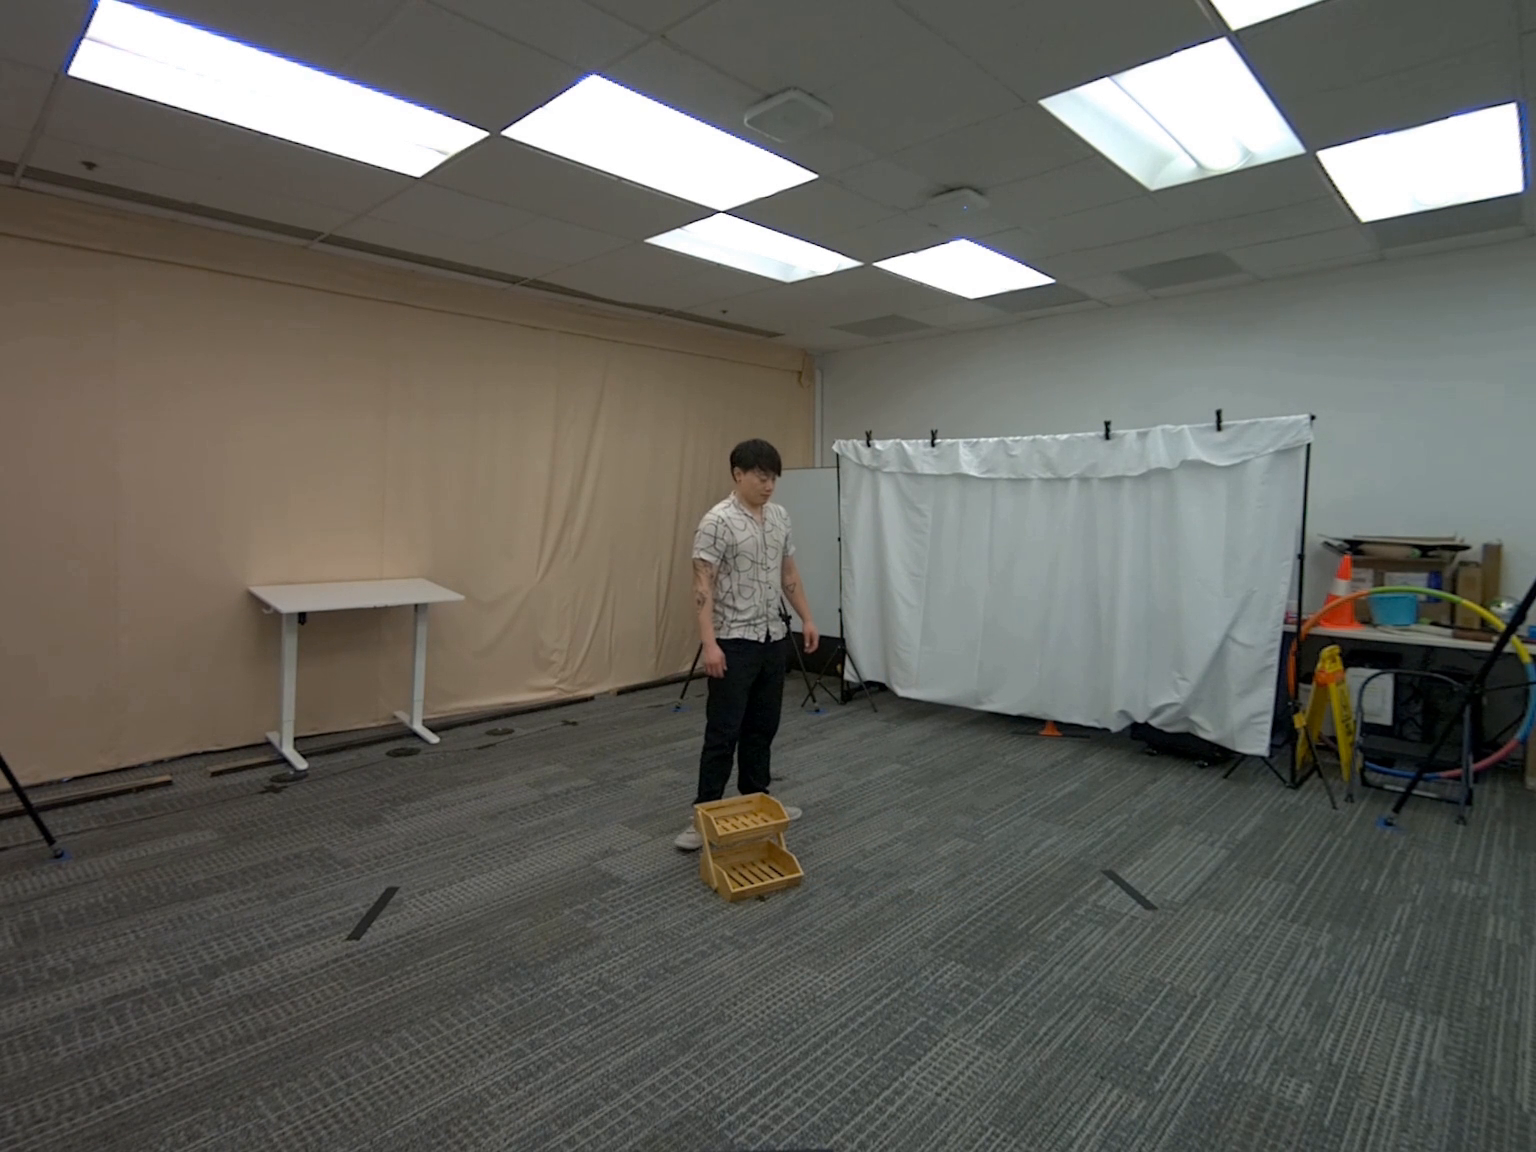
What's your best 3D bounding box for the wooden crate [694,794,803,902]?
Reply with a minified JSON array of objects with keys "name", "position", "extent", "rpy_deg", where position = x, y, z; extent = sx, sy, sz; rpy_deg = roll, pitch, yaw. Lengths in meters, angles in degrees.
[{"name":"wooden crate","position":[-0.072,0.989,3.130],"extent":[0.316,0.273,0.310],"rpy_deg":[-3,4,-29]}]
